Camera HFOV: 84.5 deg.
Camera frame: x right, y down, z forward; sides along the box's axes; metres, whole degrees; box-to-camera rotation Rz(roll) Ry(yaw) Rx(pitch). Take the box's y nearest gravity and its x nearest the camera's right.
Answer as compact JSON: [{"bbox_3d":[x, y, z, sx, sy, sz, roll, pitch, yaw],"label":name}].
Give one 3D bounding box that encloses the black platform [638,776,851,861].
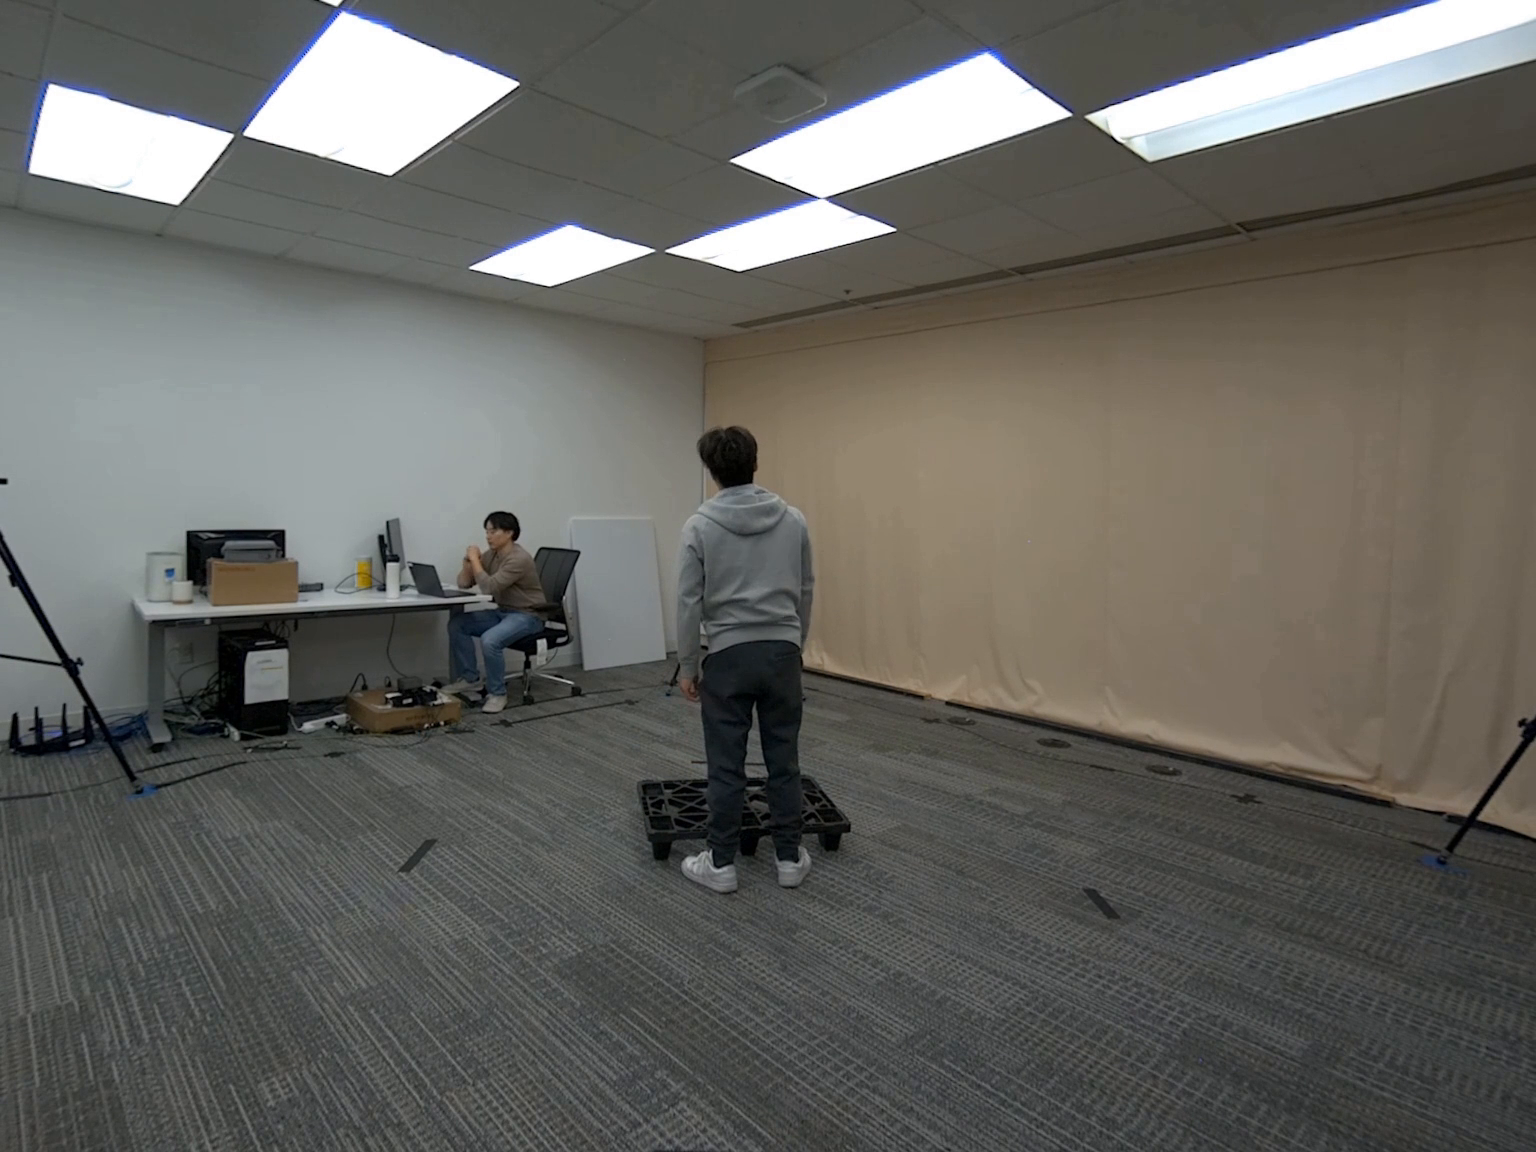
[{"bbox_3d":[-0.135,1.003,3.515,0.799,0.143,0.612,1,4,-11],"label":"black platform"}]
